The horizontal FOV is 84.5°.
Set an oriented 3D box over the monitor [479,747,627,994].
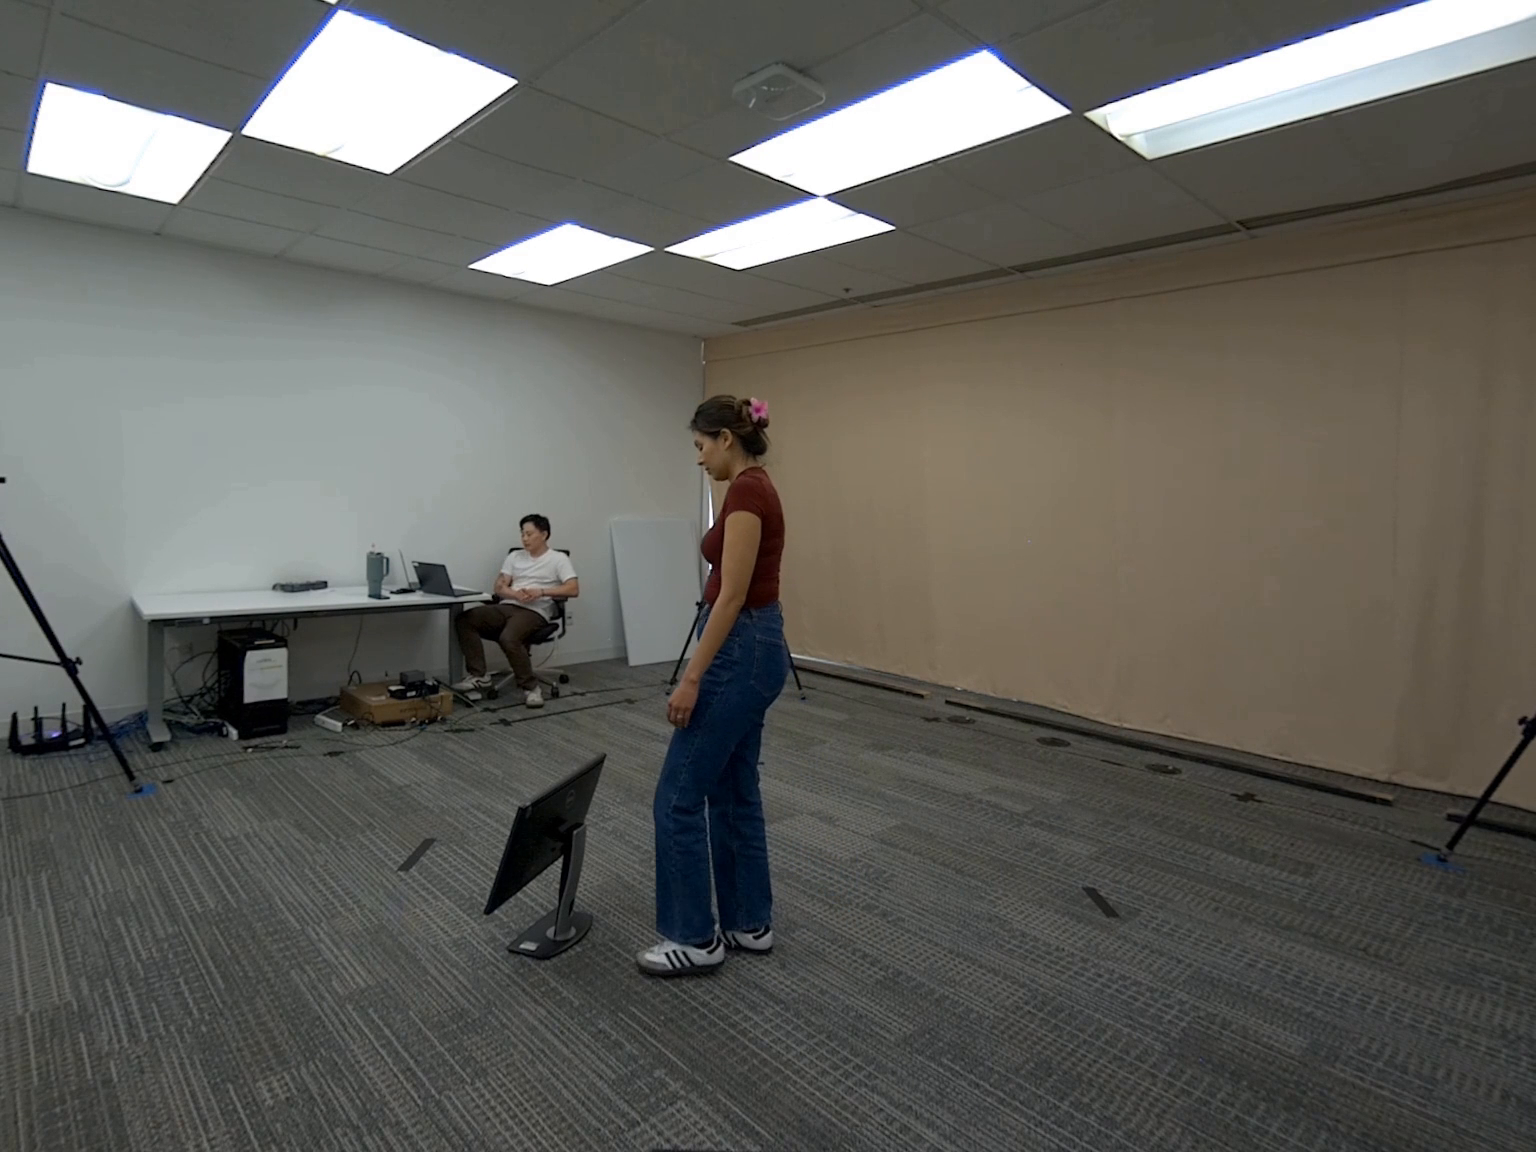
[{"bbox_3d":[-0.655,0.877,2.639,0.189,0.521,0.534,6,5,13],"label":"monitor"}]
